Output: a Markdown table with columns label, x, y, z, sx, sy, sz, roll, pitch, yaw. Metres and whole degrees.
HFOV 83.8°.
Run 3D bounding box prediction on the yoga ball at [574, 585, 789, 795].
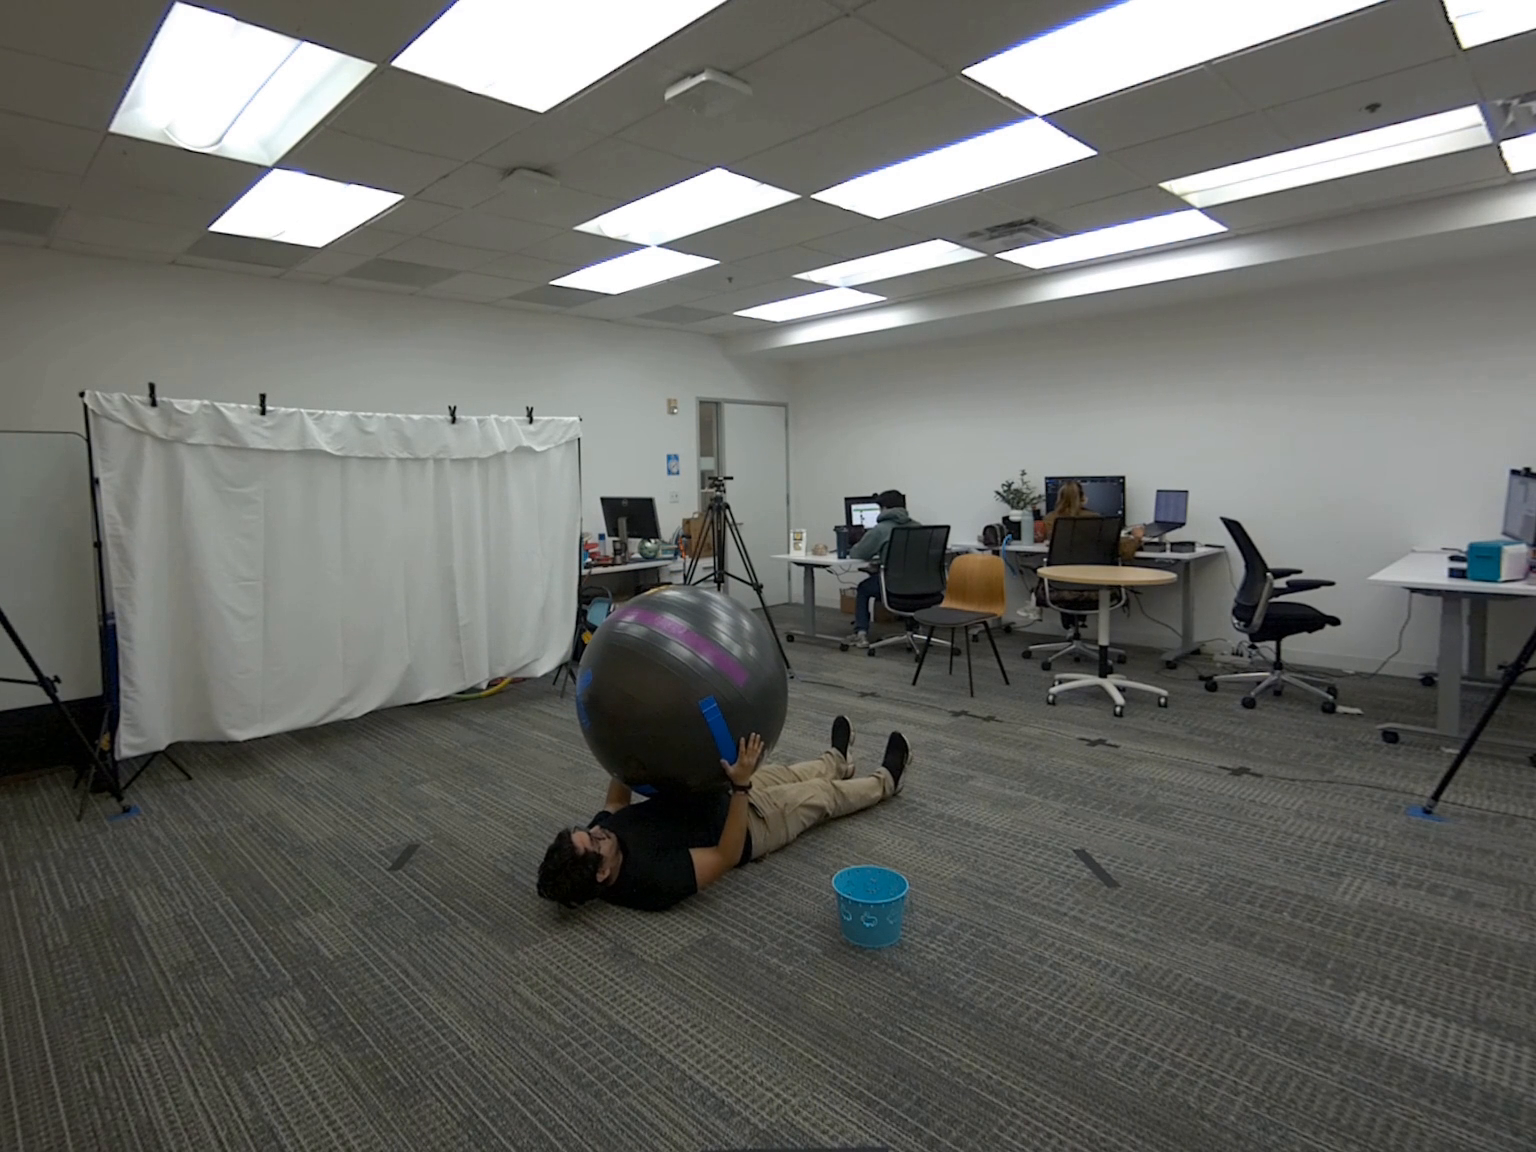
| label | x | y | z | sx | sy | sz | roll | pitch | yaw |
| --- | --- | --- | --- | --- | --- | --- | --- | --- | --- |
| yoga ball | -0.306 | 0.419 | 3.058 | 0.757 | 0.755 | 0.761 | -1 | 4 | -2 |
